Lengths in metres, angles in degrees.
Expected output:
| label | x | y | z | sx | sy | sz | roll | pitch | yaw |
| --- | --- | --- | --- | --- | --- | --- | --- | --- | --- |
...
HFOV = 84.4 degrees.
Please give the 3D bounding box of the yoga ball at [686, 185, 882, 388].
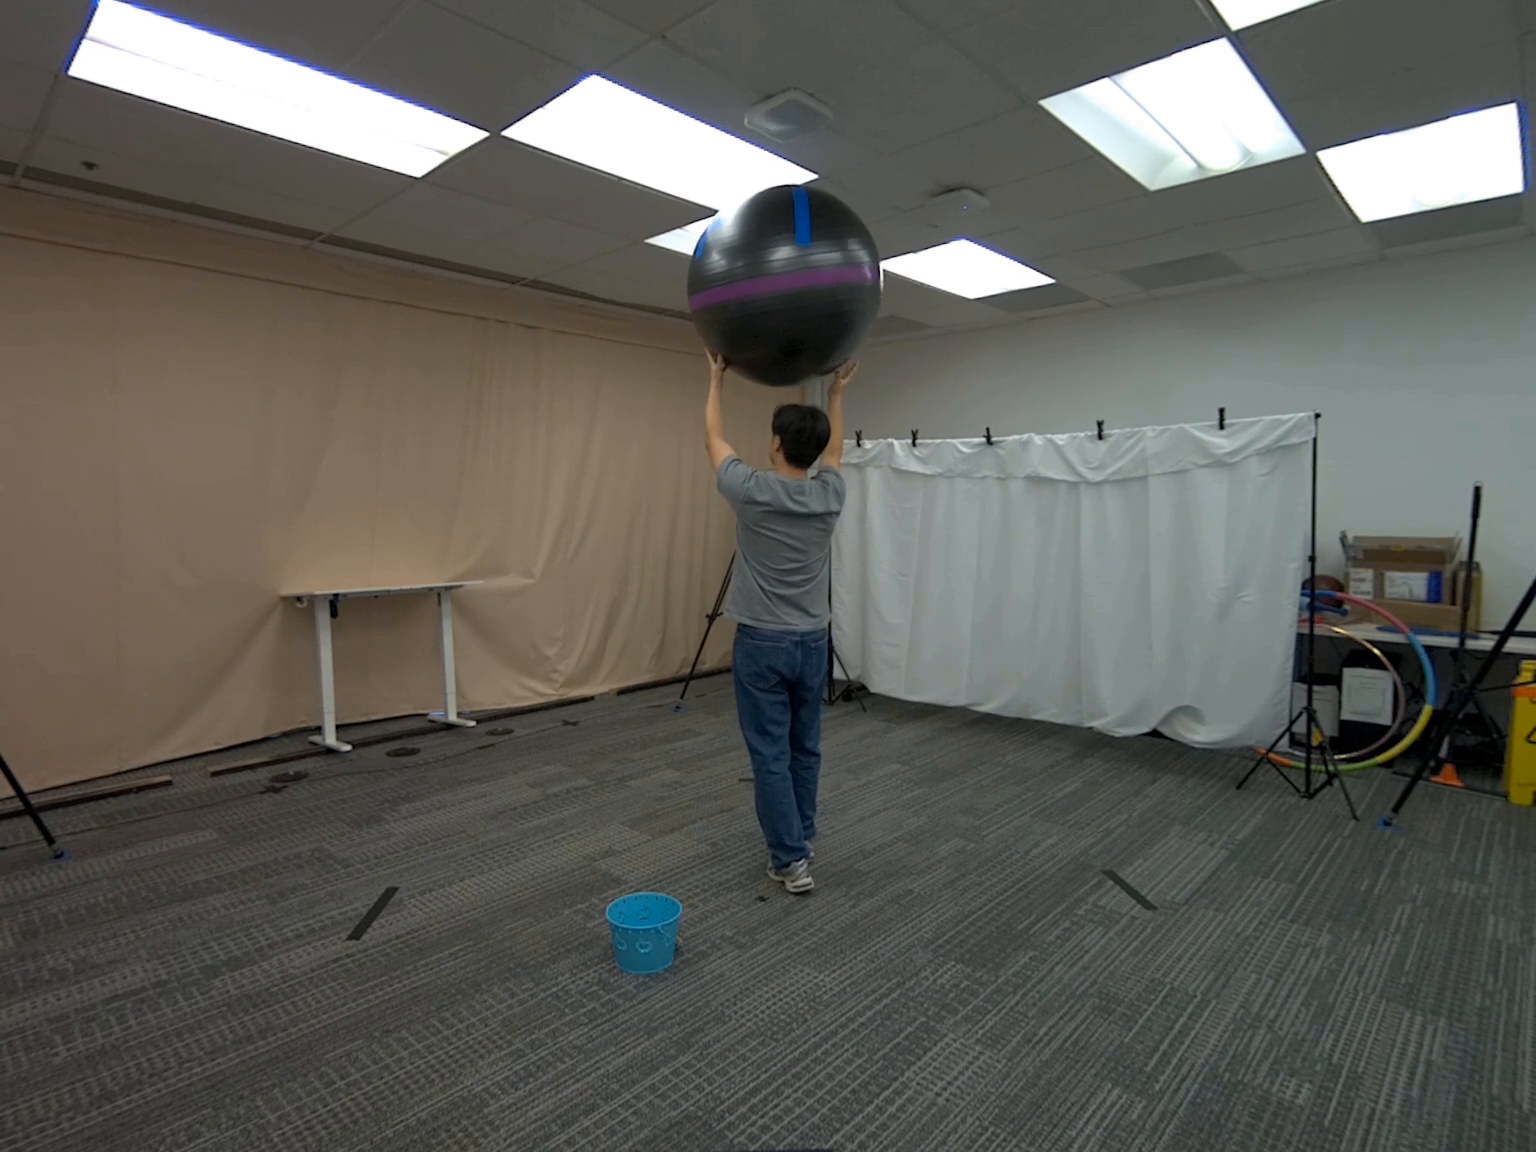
| label | x | y | z | sx | sy | sz | roll | pitch | yaw |
| --- | --- | --- | --- | --- | --- | --- | --- | --- | --- |
| yoga ball | 0.071 | -1.117 | 3.308 | 0.757 | 0.756 | 0.761 | 0 | 4 | -2 |
